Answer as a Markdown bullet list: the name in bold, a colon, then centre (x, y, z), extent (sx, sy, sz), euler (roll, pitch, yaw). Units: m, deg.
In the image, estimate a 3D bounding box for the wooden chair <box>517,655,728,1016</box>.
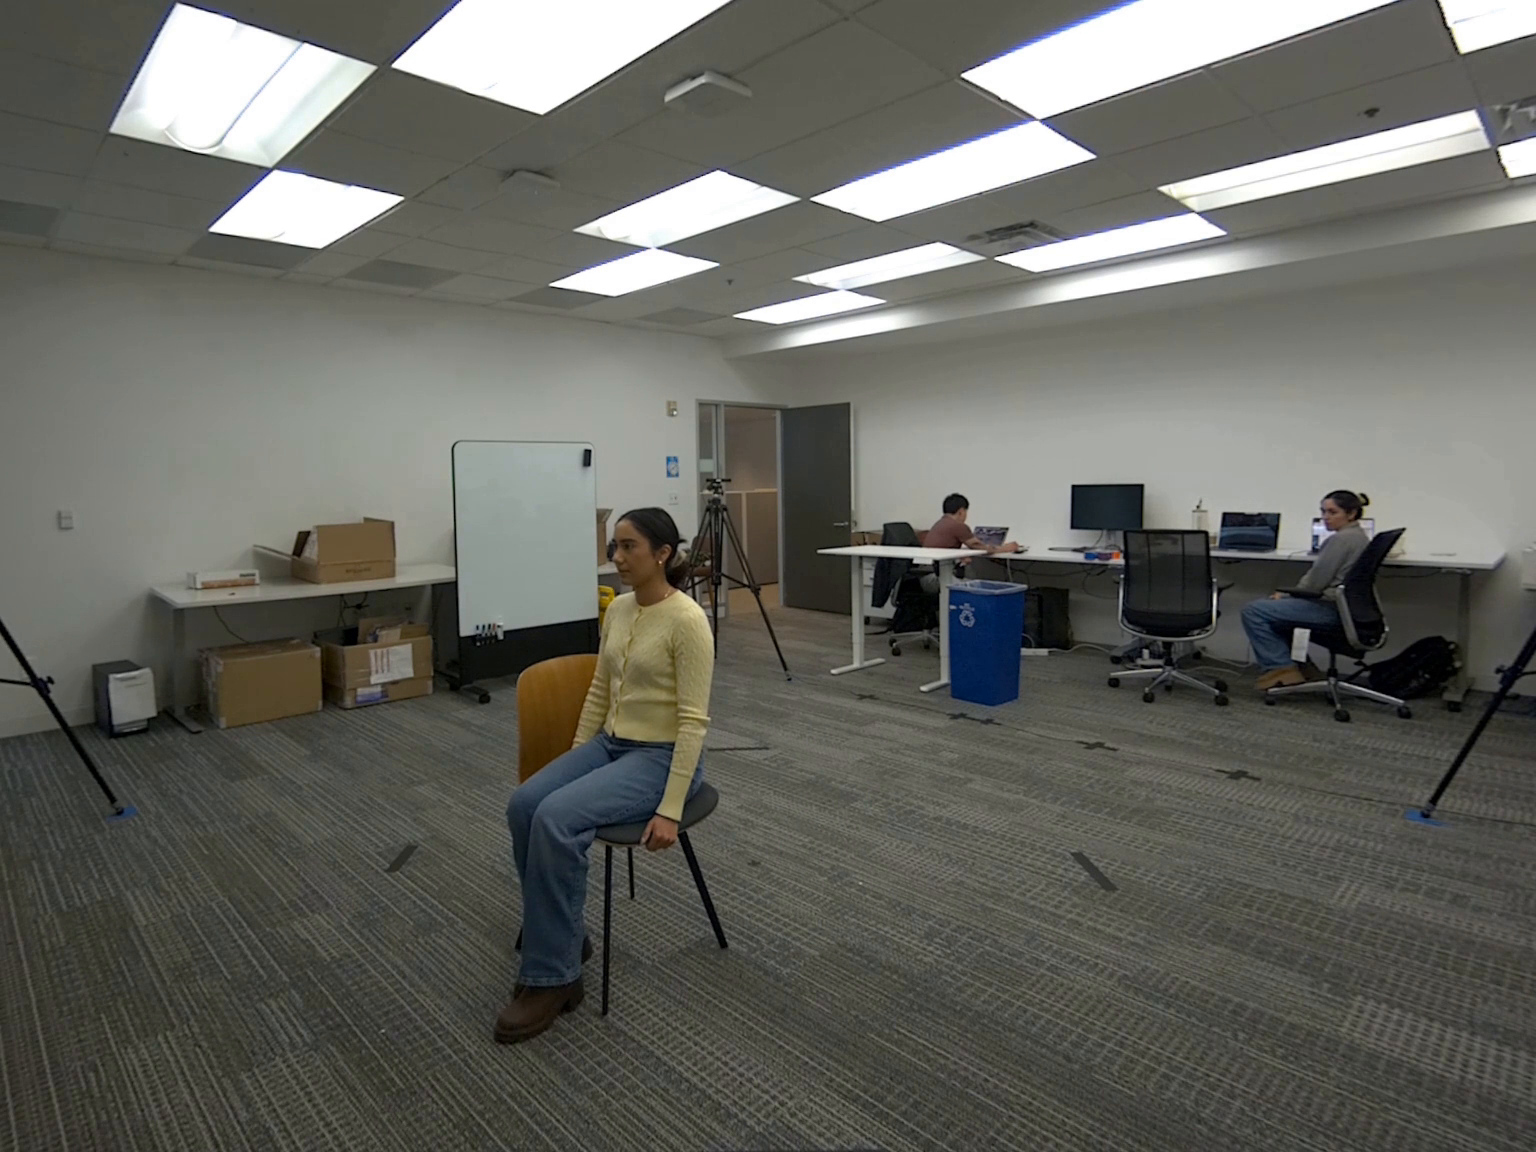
- **wooden chair**: centre (-0.437, 0.695, 2.524), extent (0.466, 0.876, 0.538), euler (-6, 2, -45)
